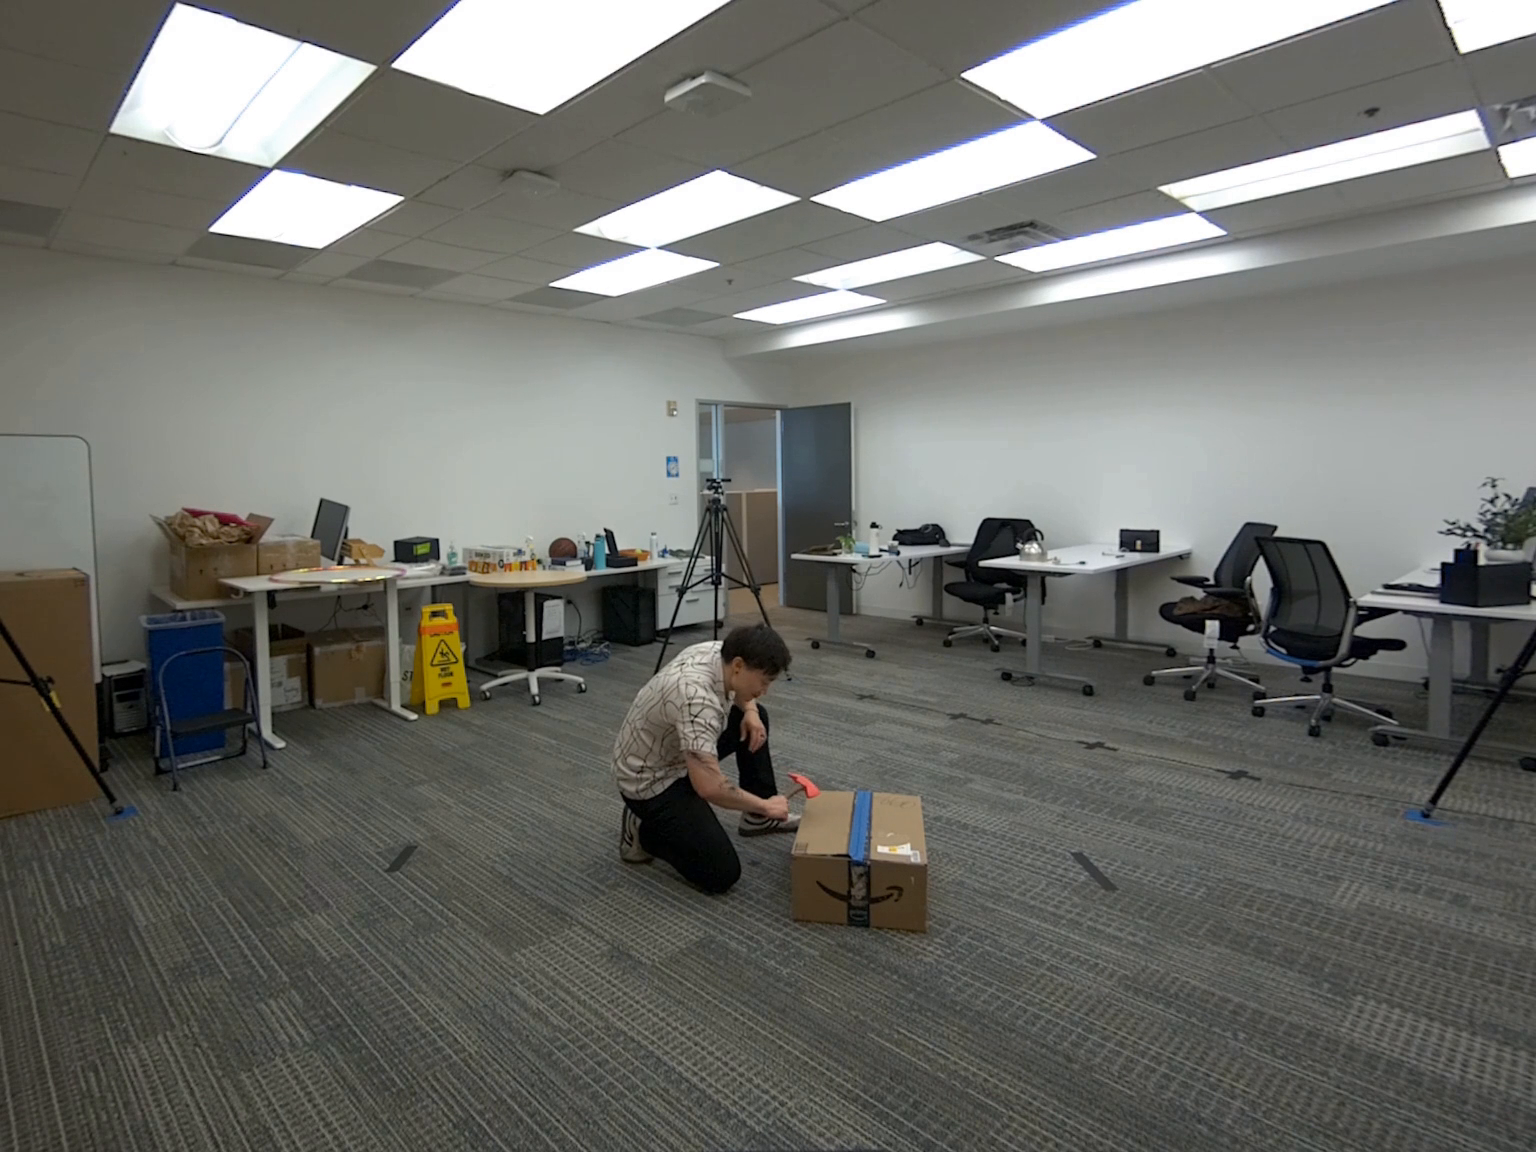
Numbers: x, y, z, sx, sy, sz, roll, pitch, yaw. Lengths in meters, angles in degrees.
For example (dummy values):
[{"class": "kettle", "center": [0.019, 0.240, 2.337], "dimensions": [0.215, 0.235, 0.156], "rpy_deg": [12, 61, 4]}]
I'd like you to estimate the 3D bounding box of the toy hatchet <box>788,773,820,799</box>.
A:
[{"class": "toy hatchet", "center": [0.107, 0.778, 2.949], "dimensions": [0.132, 0.029, 0.271], "rpy_deg": [20, 25, 5]}]
